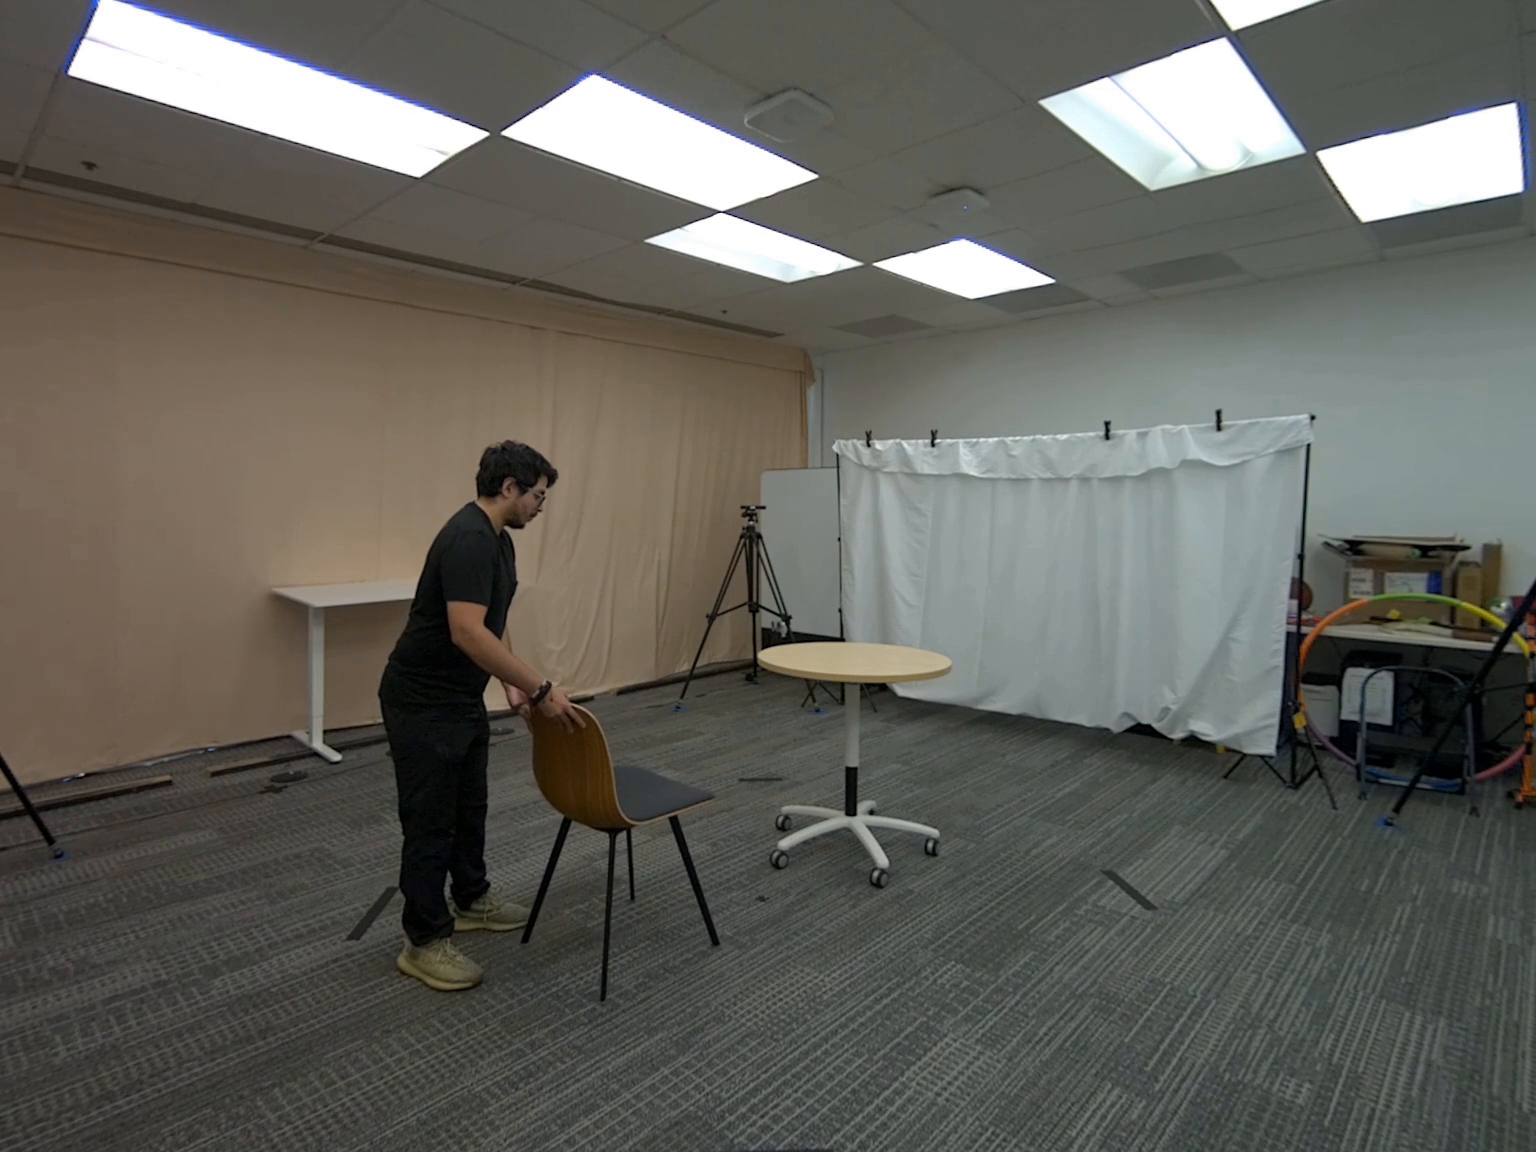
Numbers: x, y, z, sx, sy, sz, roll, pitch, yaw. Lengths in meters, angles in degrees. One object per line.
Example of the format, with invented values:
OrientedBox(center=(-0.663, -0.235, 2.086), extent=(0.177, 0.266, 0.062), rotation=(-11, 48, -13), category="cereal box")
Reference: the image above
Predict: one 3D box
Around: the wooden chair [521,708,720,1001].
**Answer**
OrientedBox(center=(-0.464, 0.748, 2.650), extent=(0.494, 0.874, 0.508), rotation=(2, 8, 45), category="wooden chair")
